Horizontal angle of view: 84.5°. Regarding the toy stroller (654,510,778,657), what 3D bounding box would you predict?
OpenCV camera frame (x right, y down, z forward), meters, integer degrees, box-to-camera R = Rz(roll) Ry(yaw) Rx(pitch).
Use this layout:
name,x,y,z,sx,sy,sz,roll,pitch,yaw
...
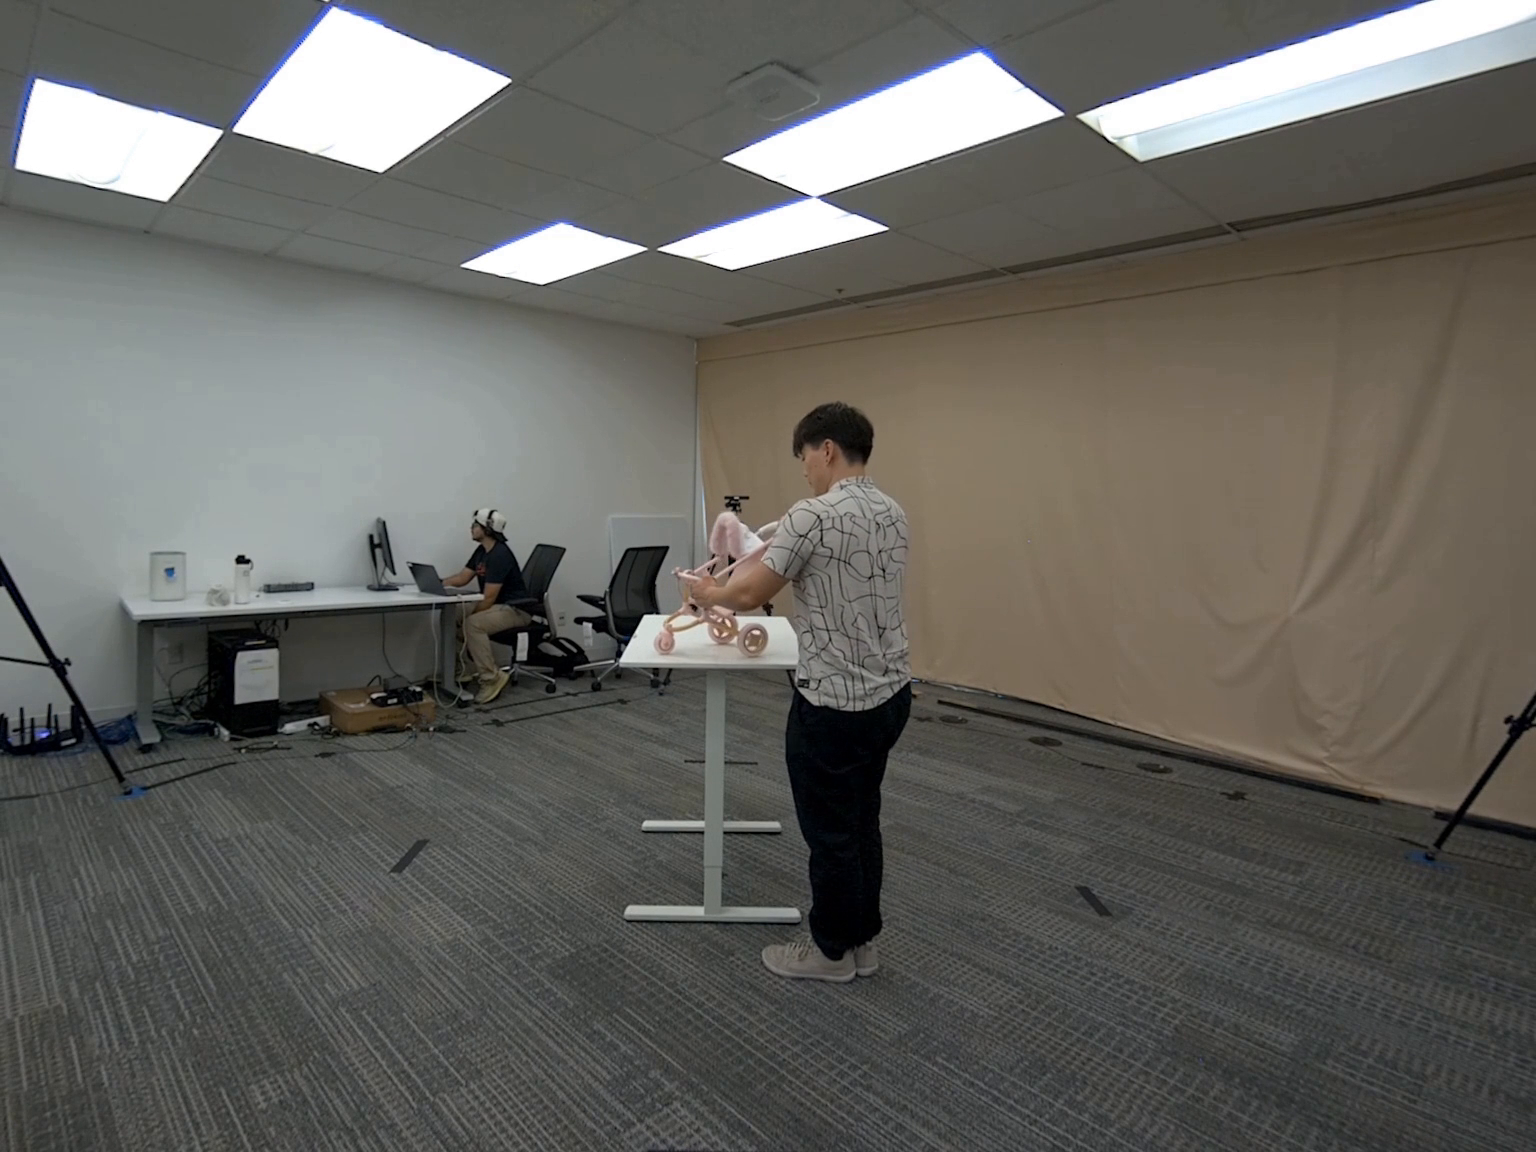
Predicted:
name,x,y,z,sx,sy,sz,roll,pitch,yaw
toy stroller,-0.164,0.031,2.782,0.335,0.535,0.286,16,-2,-20
